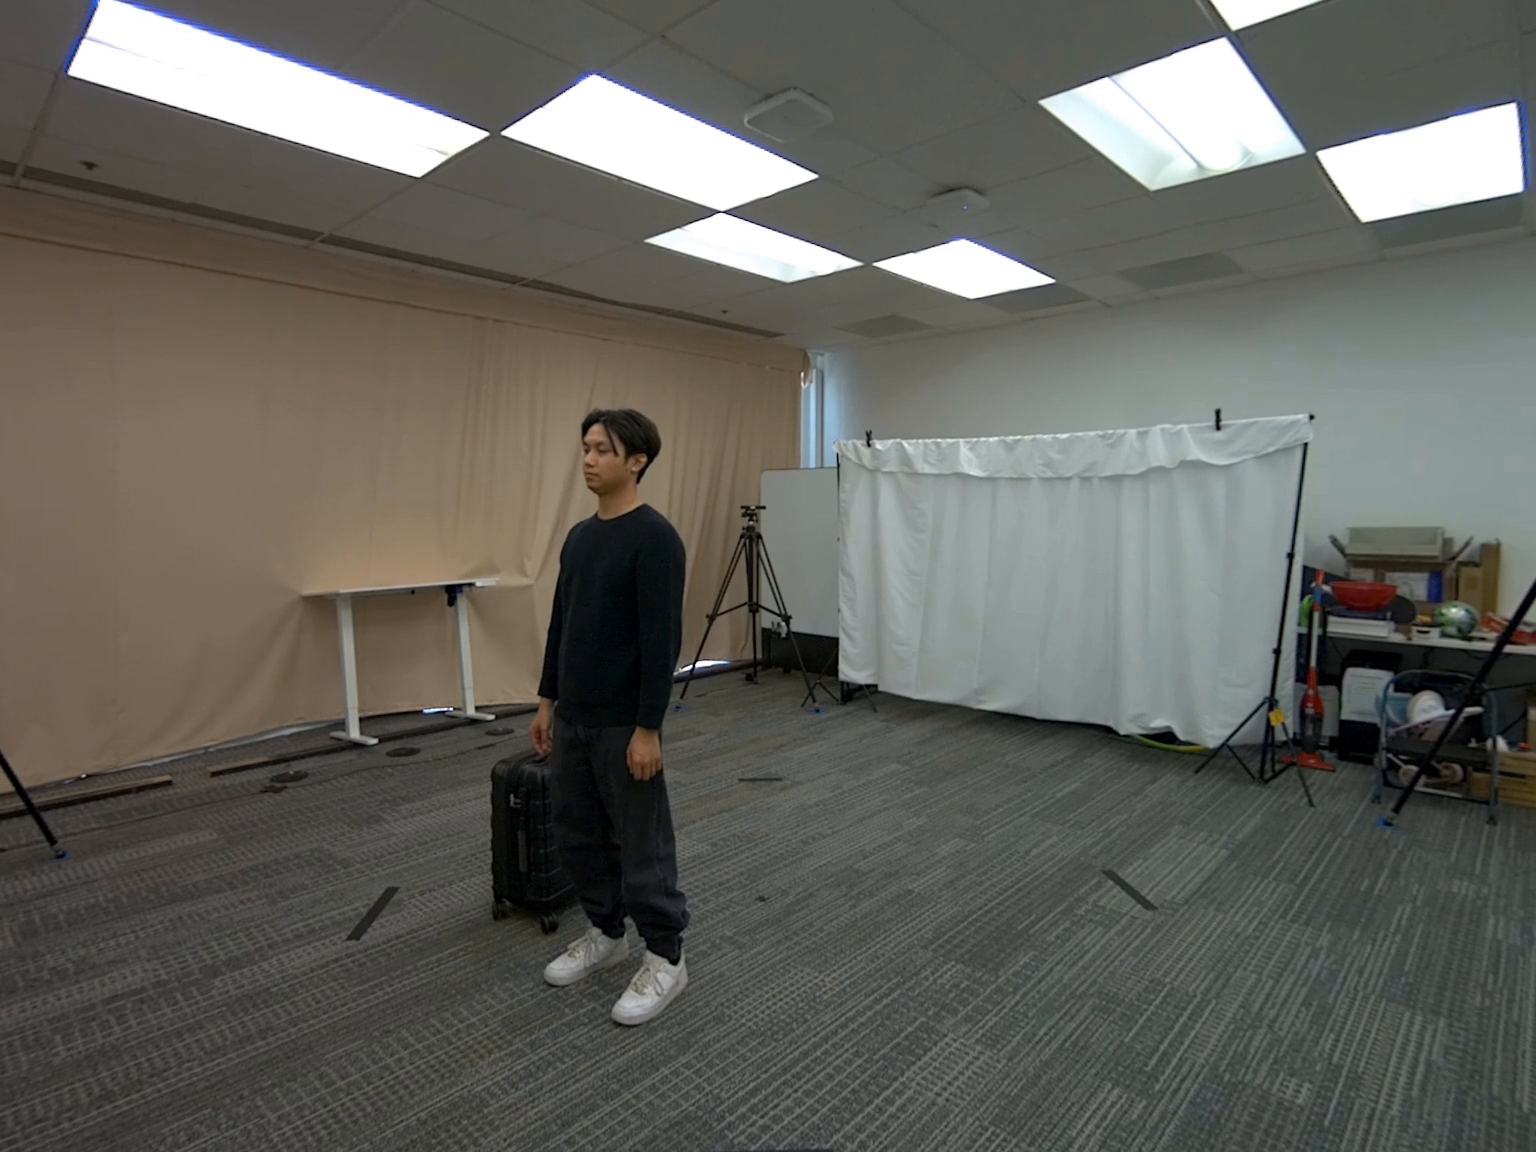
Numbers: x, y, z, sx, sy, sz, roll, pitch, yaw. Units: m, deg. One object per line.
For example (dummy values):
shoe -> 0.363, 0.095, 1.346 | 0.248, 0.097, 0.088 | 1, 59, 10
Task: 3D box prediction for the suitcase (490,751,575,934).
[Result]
suitcase -> -0.785, 0.677, 2.945 | 0.264, 0.978, 0.374 | -2, 1, 28
